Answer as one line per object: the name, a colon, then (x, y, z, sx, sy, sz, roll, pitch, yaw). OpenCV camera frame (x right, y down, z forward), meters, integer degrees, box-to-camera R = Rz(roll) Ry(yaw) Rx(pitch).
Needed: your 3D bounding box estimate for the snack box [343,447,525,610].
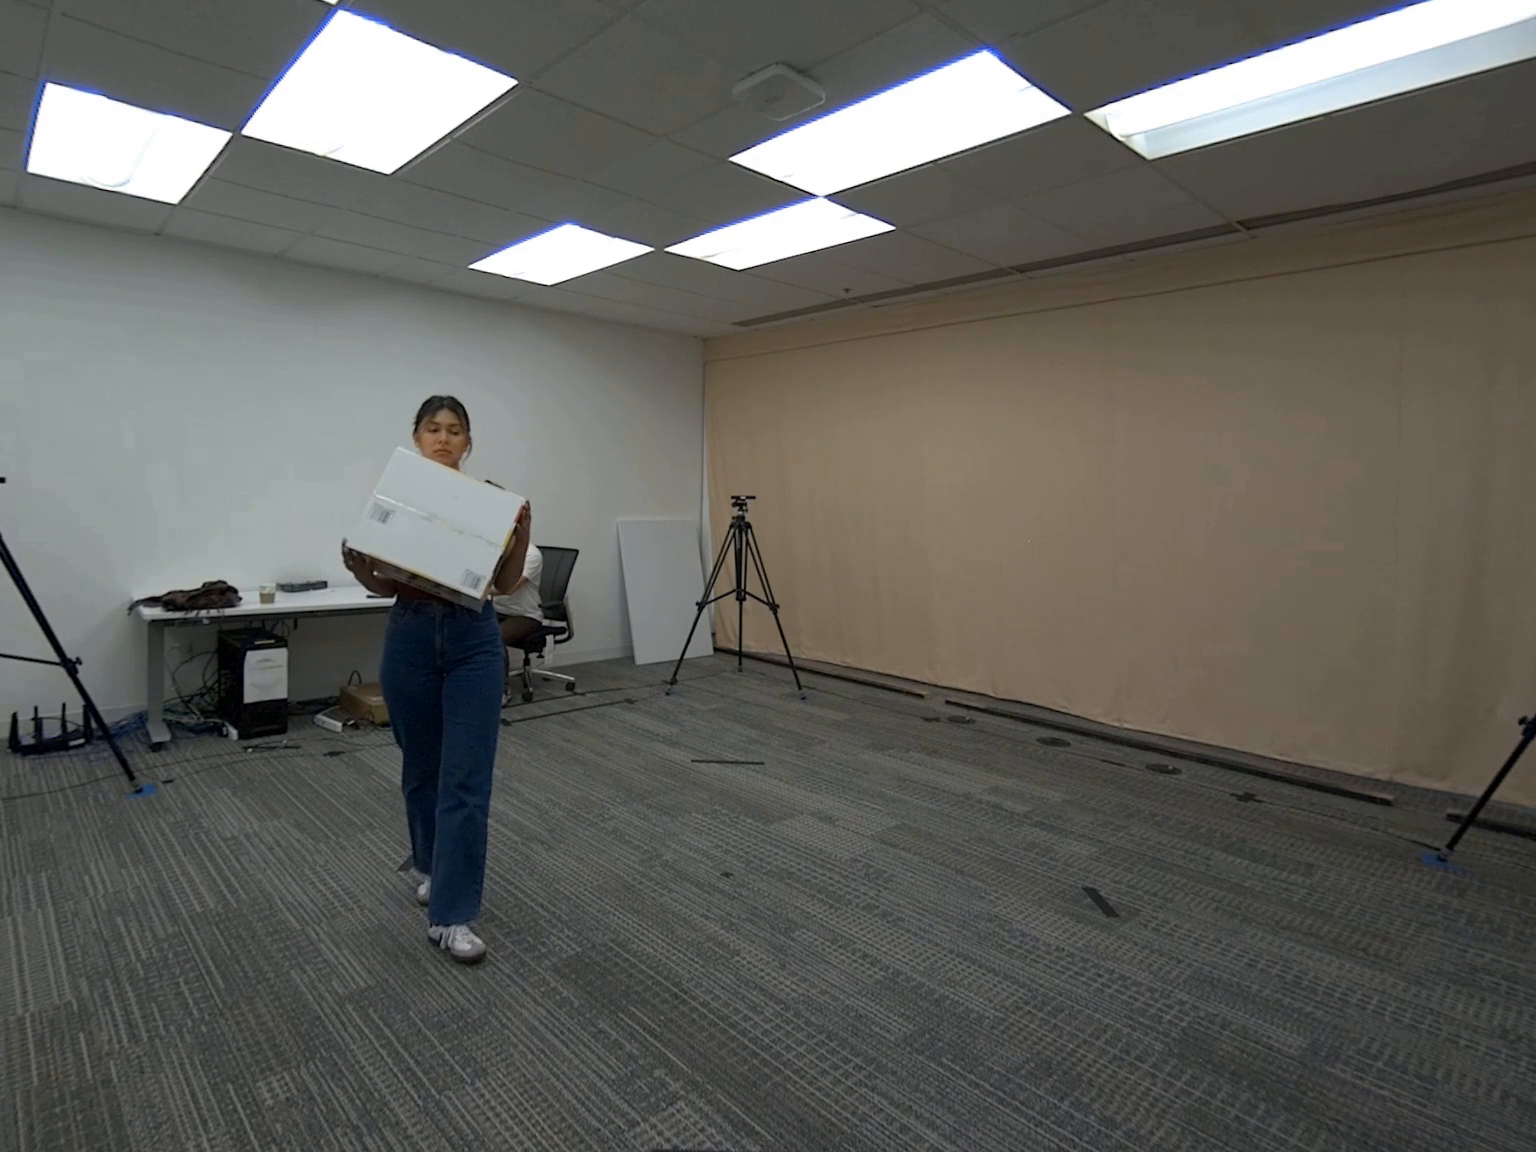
snack box: (-0.990, -0.138, 2.546, 0.401, 0.343, 0.206, 22, -19, -10)
